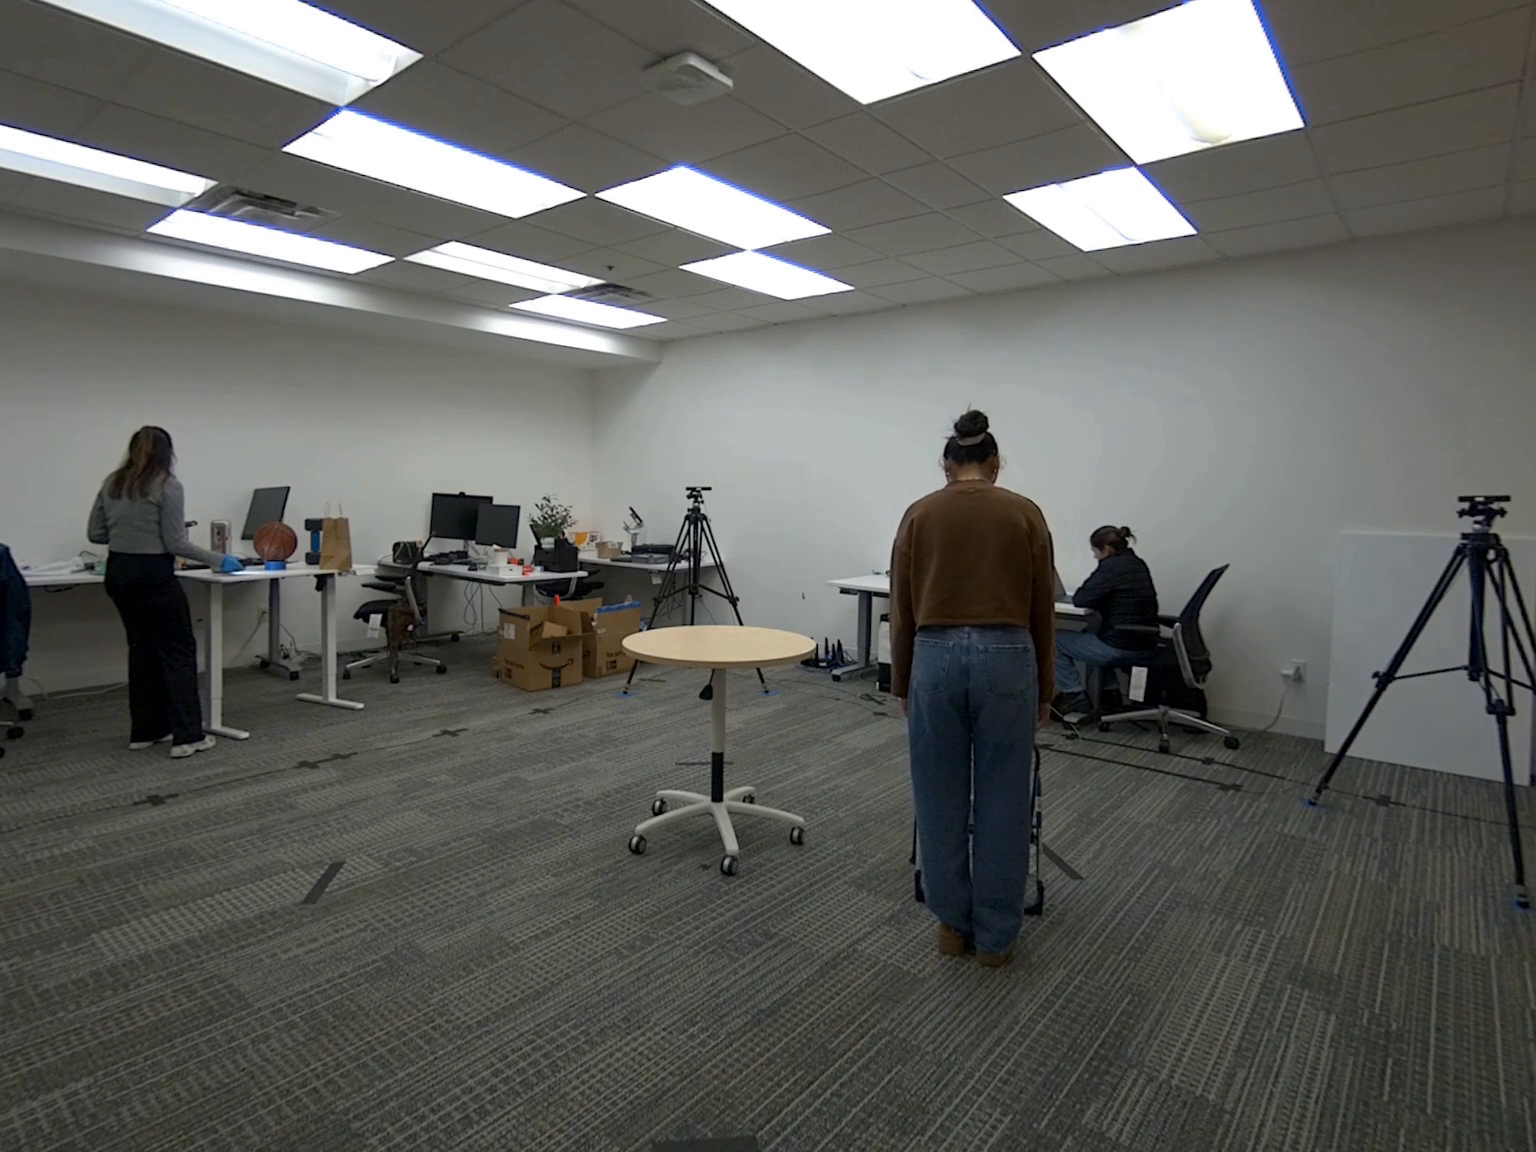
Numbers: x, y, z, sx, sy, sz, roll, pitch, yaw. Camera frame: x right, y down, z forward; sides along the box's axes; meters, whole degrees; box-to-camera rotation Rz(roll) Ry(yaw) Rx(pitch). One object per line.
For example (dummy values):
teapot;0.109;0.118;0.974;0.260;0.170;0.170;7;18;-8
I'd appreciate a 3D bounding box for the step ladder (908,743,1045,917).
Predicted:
step ladder;0.723;0.789;2.997;0.435;0.604;0.347;2;4;9
